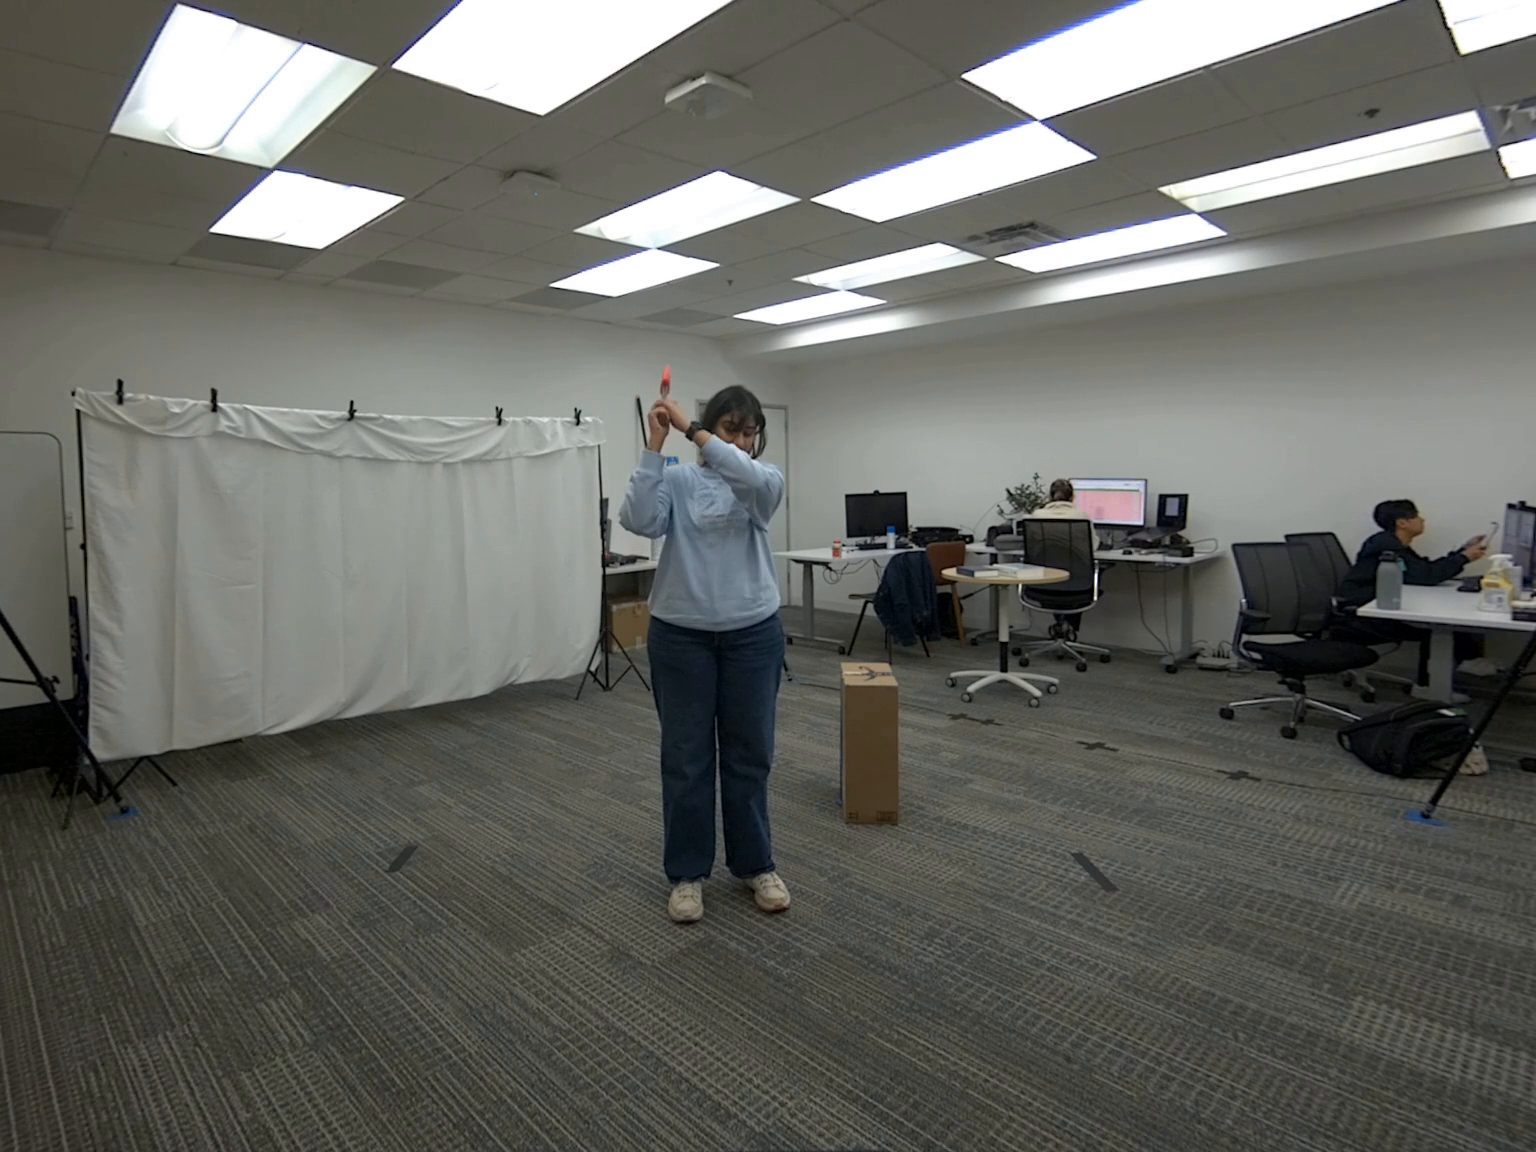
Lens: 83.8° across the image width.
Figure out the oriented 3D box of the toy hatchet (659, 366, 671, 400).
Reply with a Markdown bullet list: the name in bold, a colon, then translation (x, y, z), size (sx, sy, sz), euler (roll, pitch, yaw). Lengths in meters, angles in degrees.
- **toy hatchet**: translation (-0.292, -0.549, 2.582), size (0.029, 0.129, 0.277), euler (3, 24, -10)
